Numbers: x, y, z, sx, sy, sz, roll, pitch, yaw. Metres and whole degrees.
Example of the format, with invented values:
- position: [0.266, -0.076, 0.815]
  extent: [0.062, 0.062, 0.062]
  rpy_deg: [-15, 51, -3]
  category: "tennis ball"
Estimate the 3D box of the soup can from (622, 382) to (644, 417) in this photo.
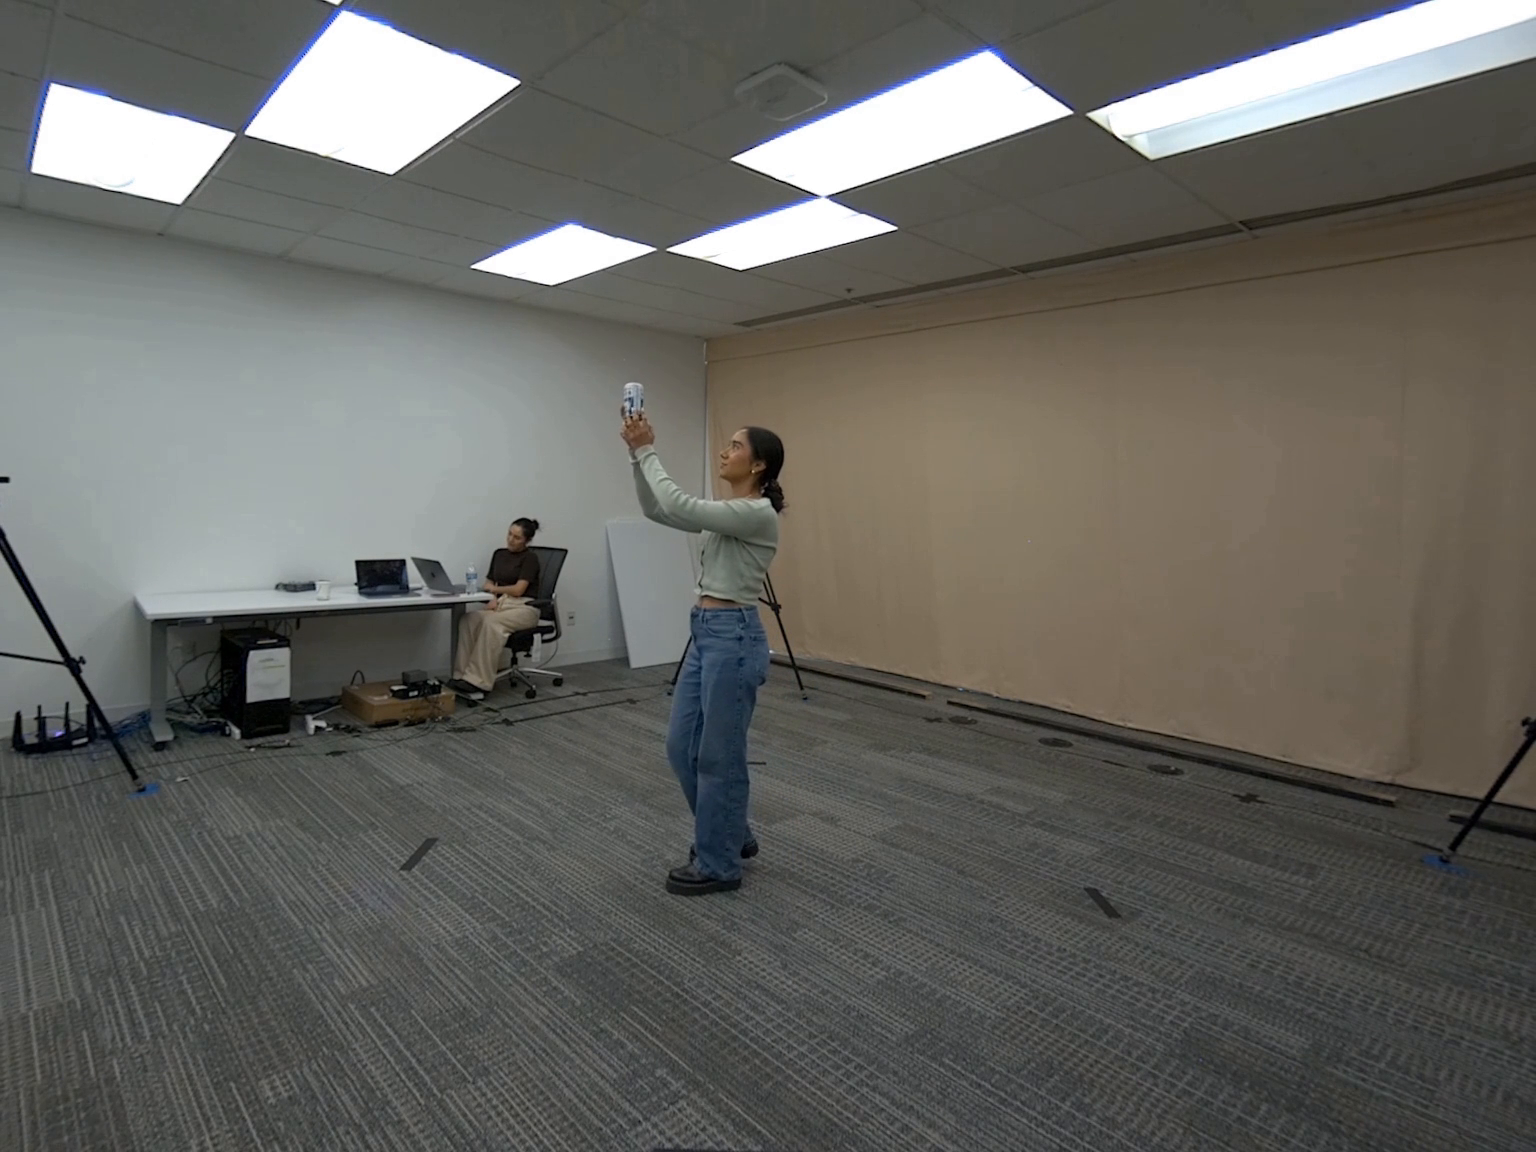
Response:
- position: [-0.461, -0.598, 2.892]
  extent: [0.067, 0.122, 0.067]
  rpy_deg: [-1, -5, -1]
  category: "soup can"
